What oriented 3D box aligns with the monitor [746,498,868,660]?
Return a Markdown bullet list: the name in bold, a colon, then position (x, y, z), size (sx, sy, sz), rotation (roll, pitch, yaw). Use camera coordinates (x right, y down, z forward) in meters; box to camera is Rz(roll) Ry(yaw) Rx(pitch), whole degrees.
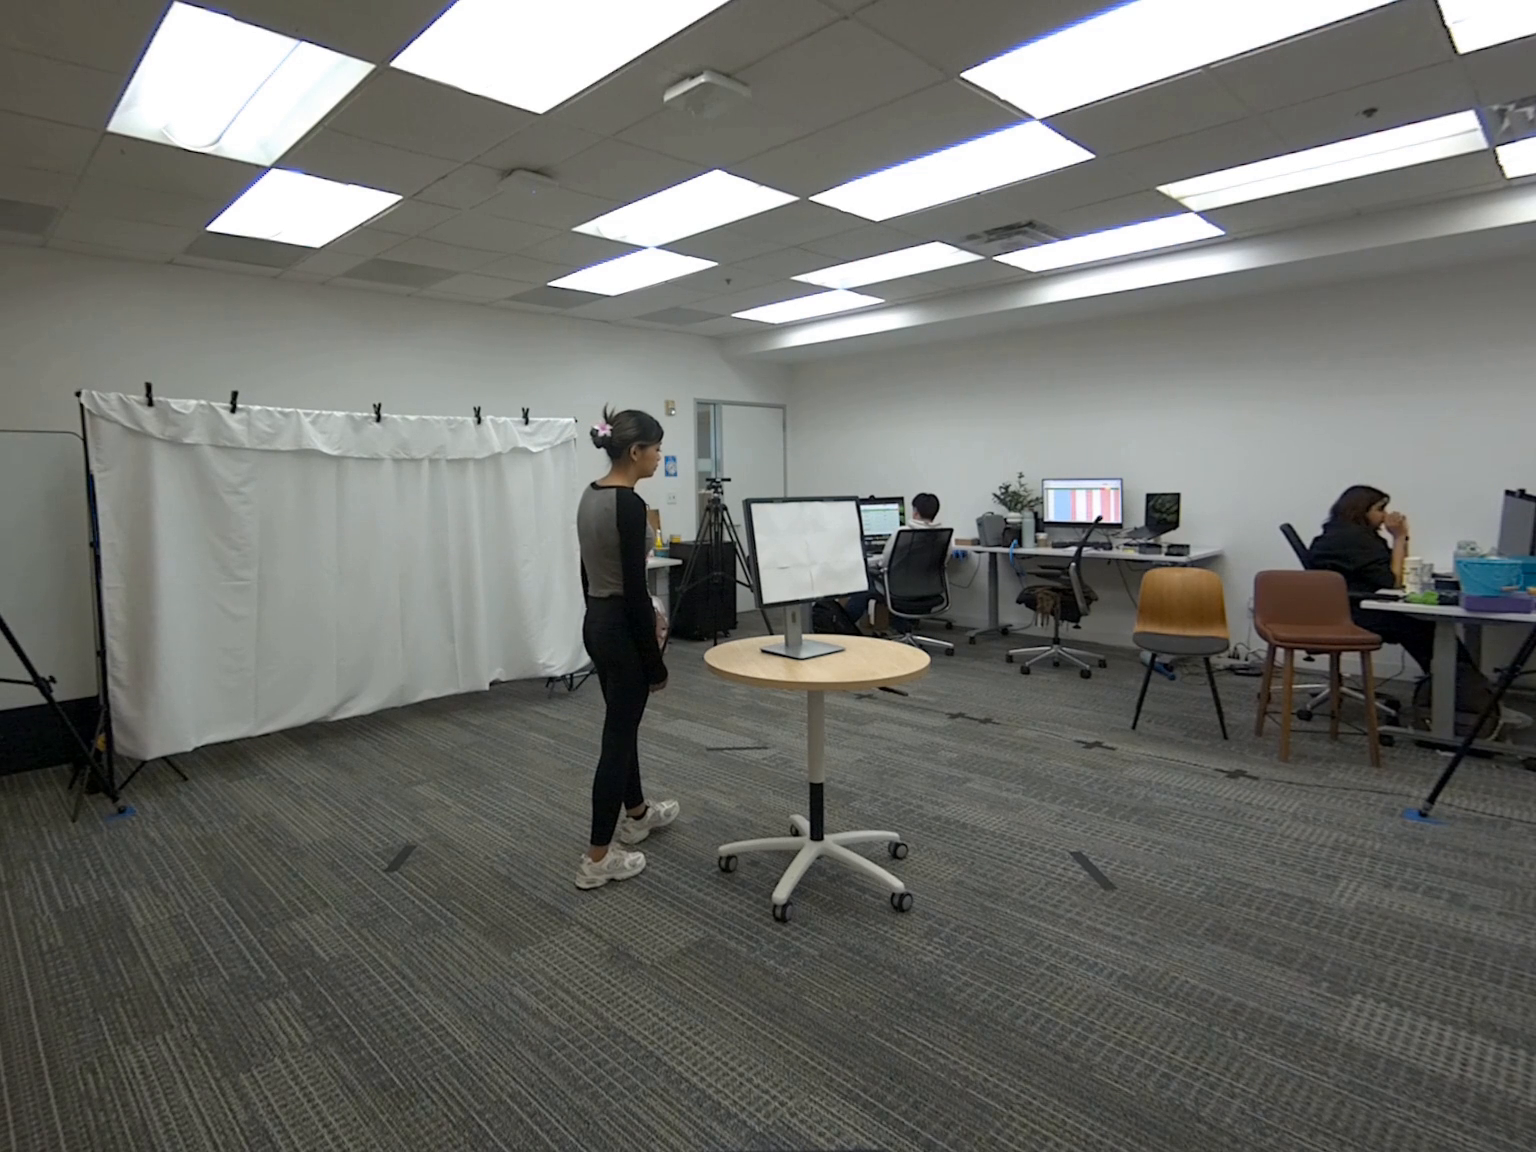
- **monitor**: position (0.124, 0.001, 2.979), size (0.525, 0.520, 0.193), rotation (-6, 8, -44)
